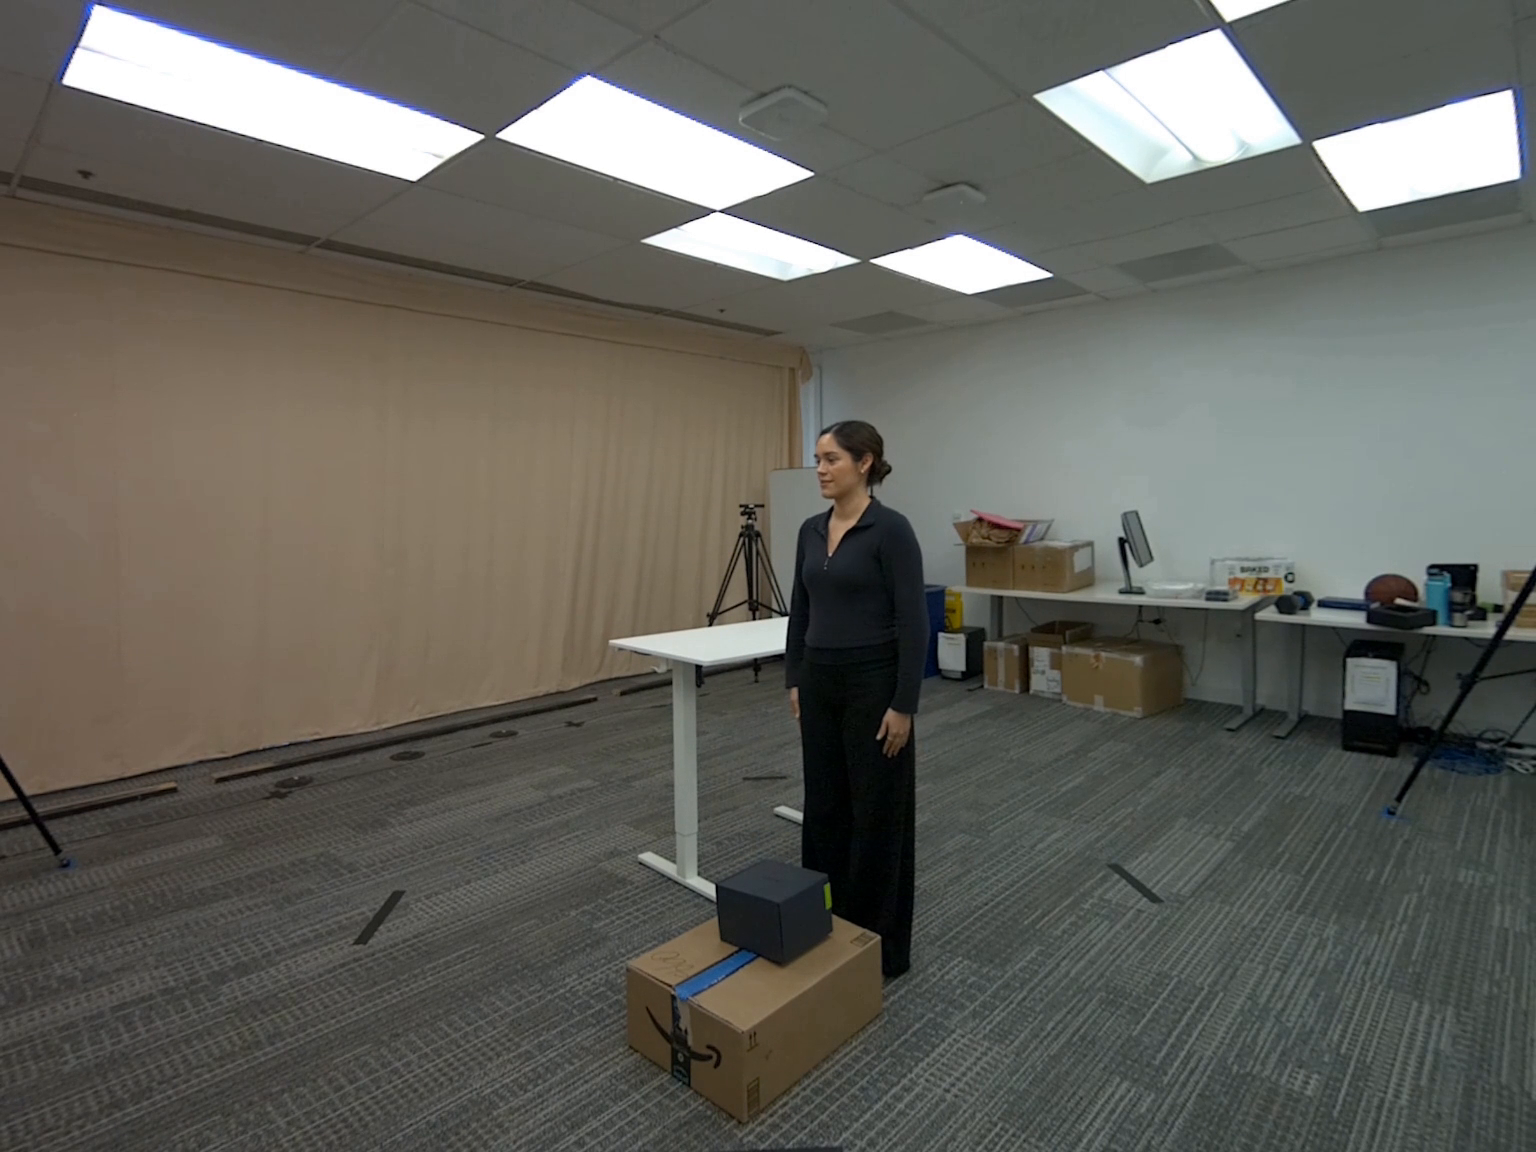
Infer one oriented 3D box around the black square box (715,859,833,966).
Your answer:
[{"bbox_3d":[0.020,0.893,2.276,0.235,0.156,0.210,-3,2,42],"label":"black square box"}]
